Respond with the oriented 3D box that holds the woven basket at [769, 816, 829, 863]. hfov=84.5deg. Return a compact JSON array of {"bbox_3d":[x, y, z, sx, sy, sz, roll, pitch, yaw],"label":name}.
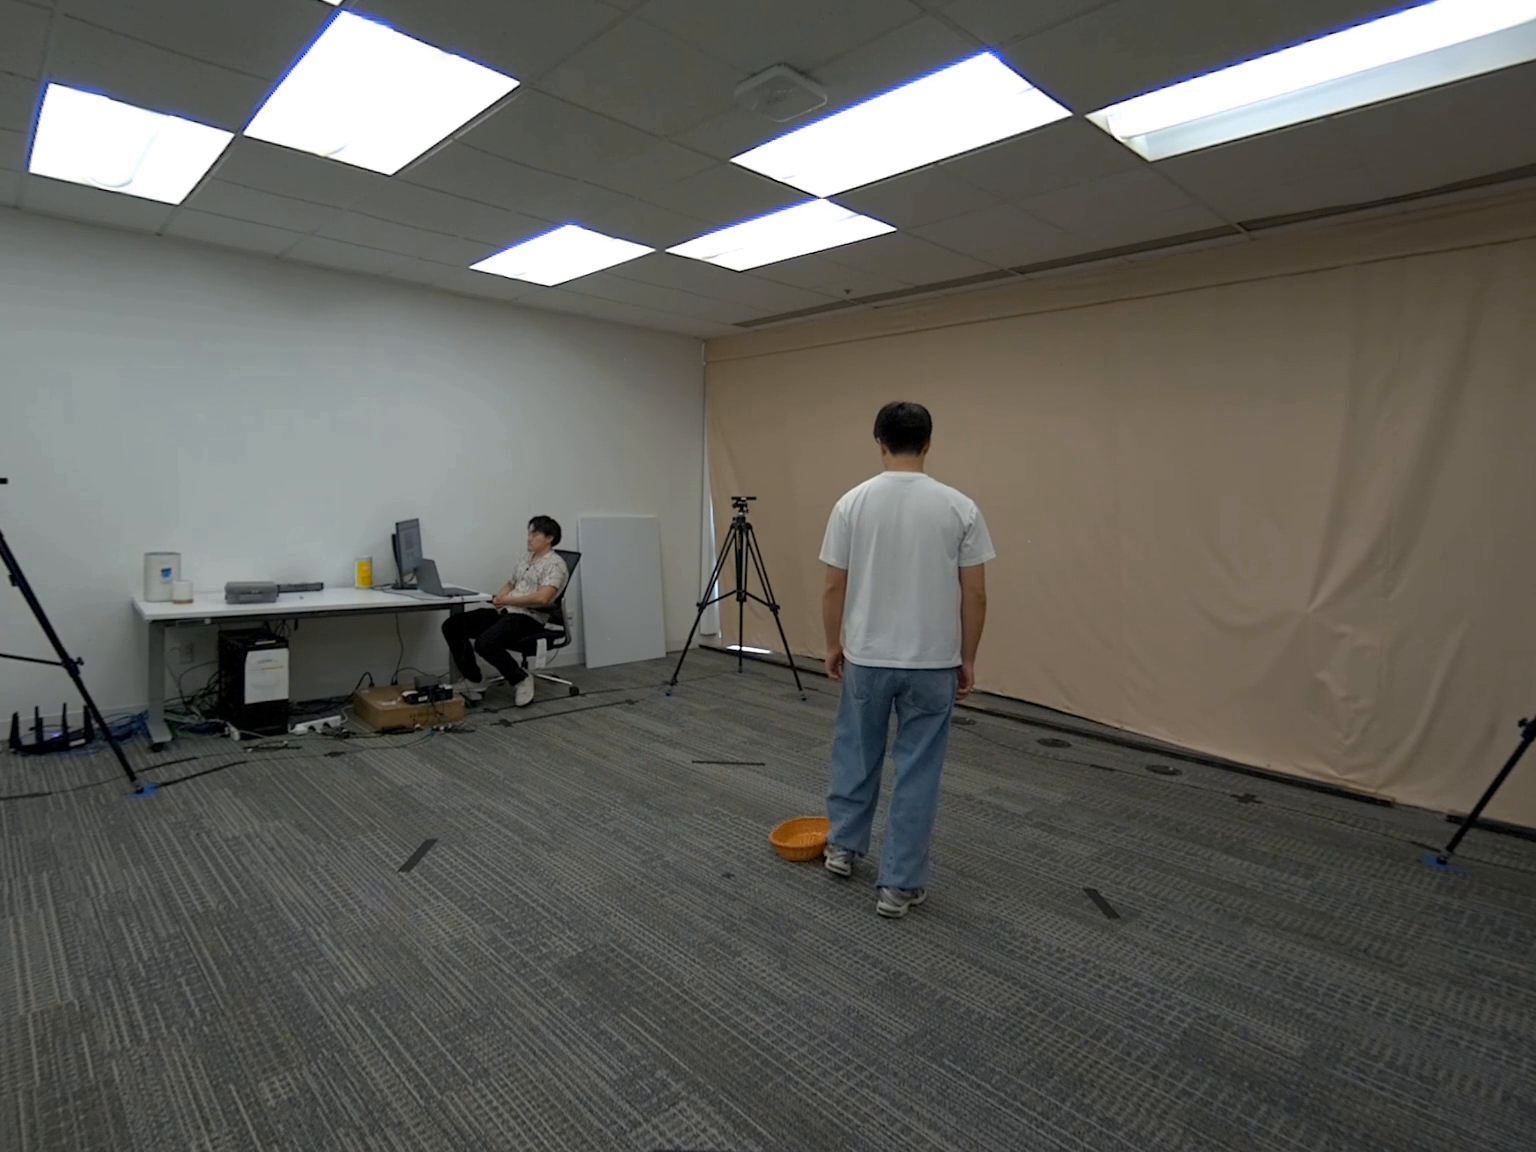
[{"bbox_3d":[0.139,1.047,3.351,0.257,0.073,0.344,-3,3,28],"label":"woven basket"}]
